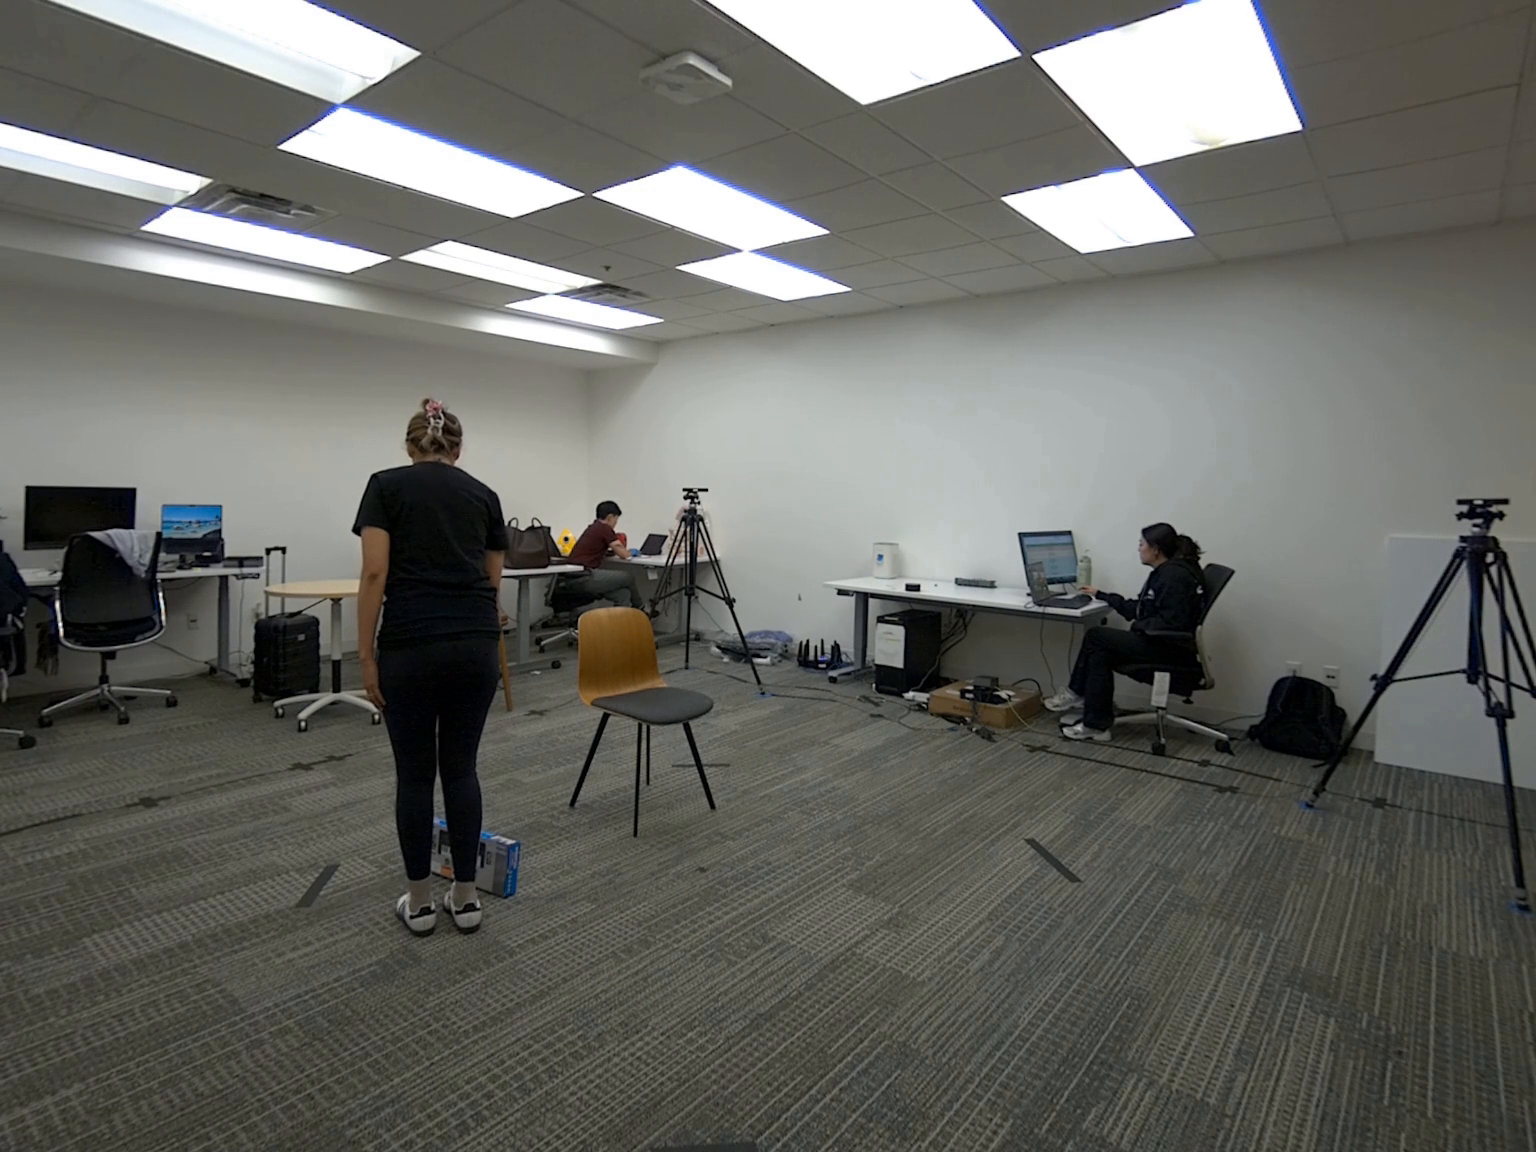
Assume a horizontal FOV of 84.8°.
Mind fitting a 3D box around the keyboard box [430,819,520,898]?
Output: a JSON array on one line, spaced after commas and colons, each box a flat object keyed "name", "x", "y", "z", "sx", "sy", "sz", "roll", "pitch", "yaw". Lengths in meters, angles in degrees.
[{"name": "keyboard box", "x": -1.072, "y": 0.980, "z": 2.988, "sx": 0.449, "sy": 0.176, "sz": 0.057, "roll": 5, "pitch": -1, "yaw": 29}]
